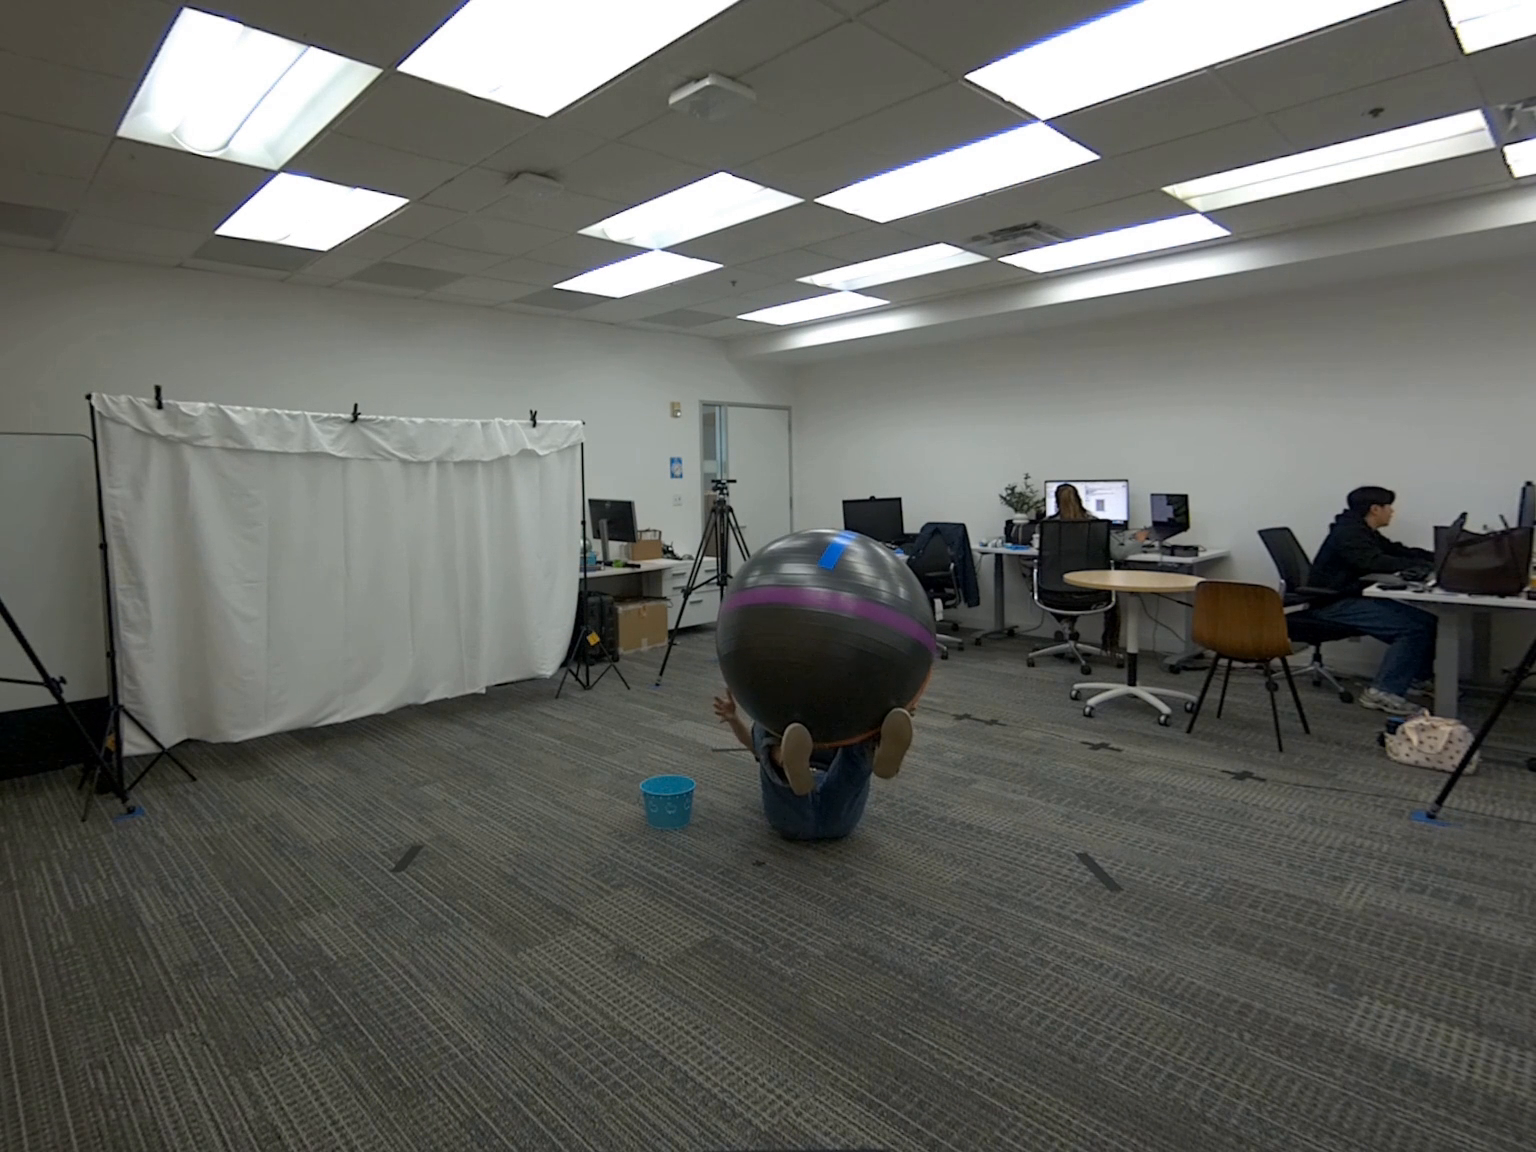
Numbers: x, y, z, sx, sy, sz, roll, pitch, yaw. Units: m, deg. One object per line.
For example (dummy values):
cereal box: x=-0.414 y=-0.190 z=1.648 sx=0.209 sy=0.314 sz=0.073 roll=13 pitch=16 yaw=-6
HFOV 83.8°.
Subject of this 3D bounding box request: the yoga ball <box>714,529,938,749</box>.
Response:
yoga ball: x=0.197 y=0.218 z=2.994 sx=0.757 sy=0.755 sz=0.762 roll=-1 pitch=5 yaw=-2
